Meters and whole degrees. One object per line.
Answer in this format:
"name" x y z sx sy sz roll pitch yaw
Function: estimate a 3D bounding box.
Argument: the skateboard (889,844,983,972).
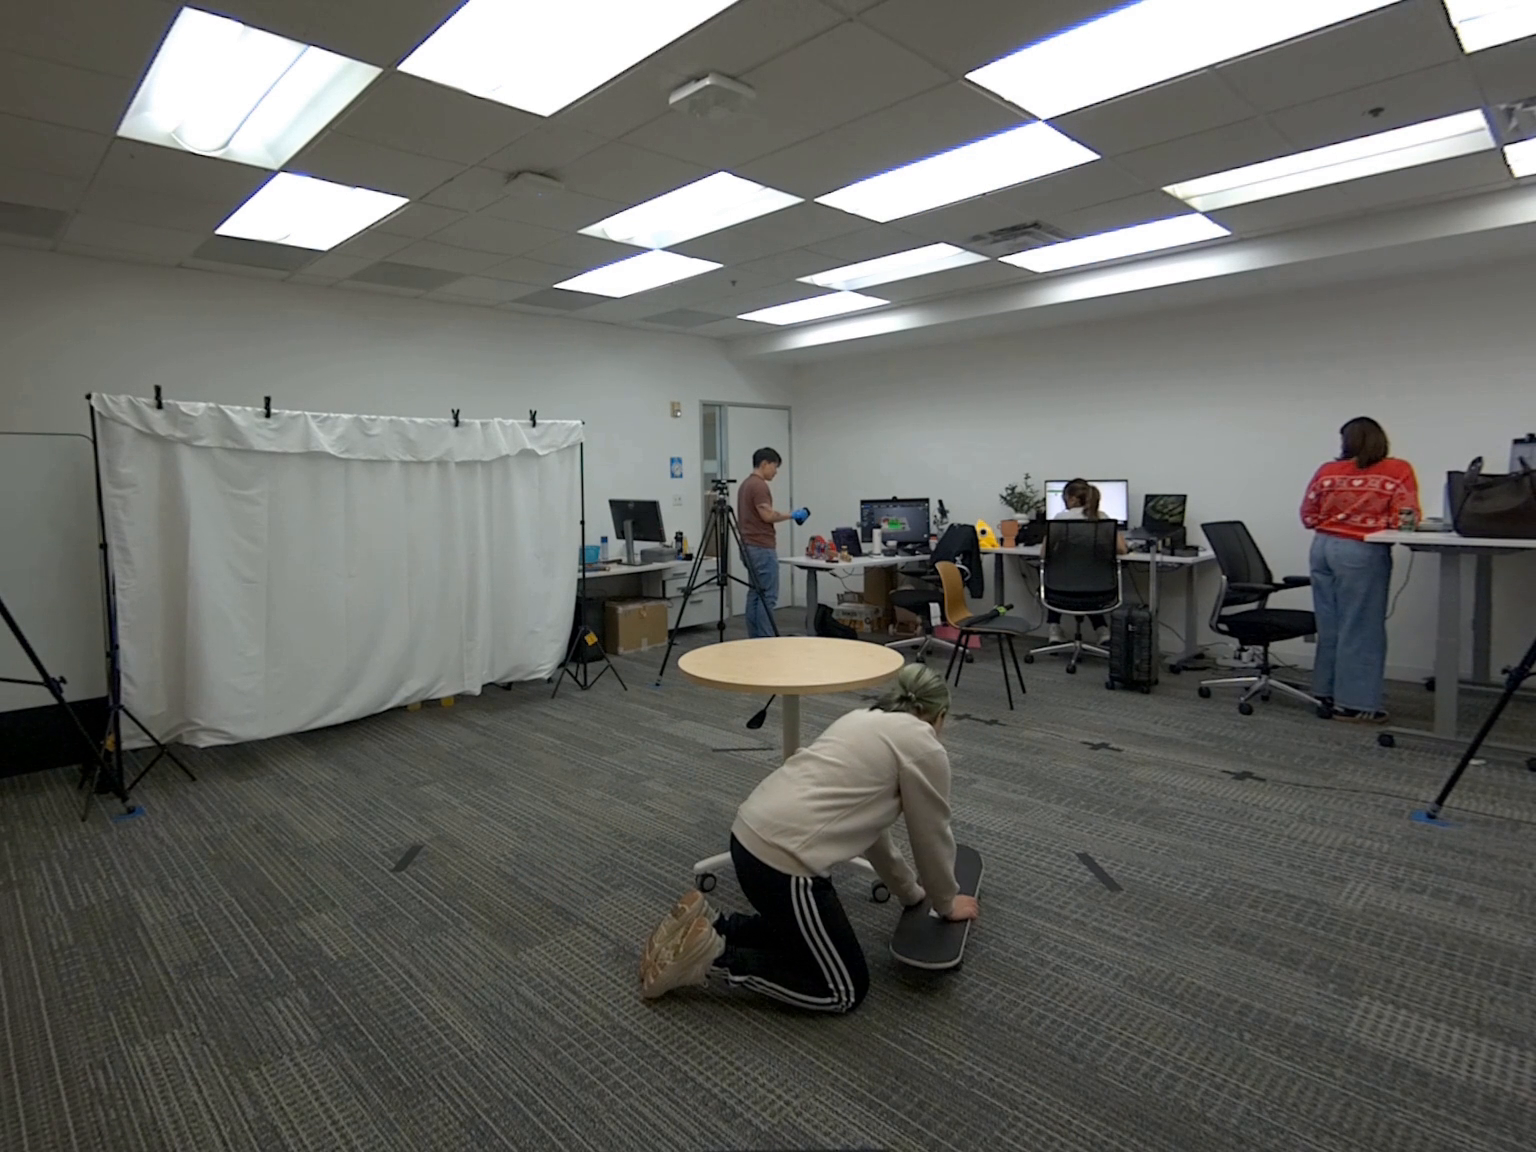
"skateboard" 0.533 1.026 2.633 0.197 0.110 0.774 1 7 21
